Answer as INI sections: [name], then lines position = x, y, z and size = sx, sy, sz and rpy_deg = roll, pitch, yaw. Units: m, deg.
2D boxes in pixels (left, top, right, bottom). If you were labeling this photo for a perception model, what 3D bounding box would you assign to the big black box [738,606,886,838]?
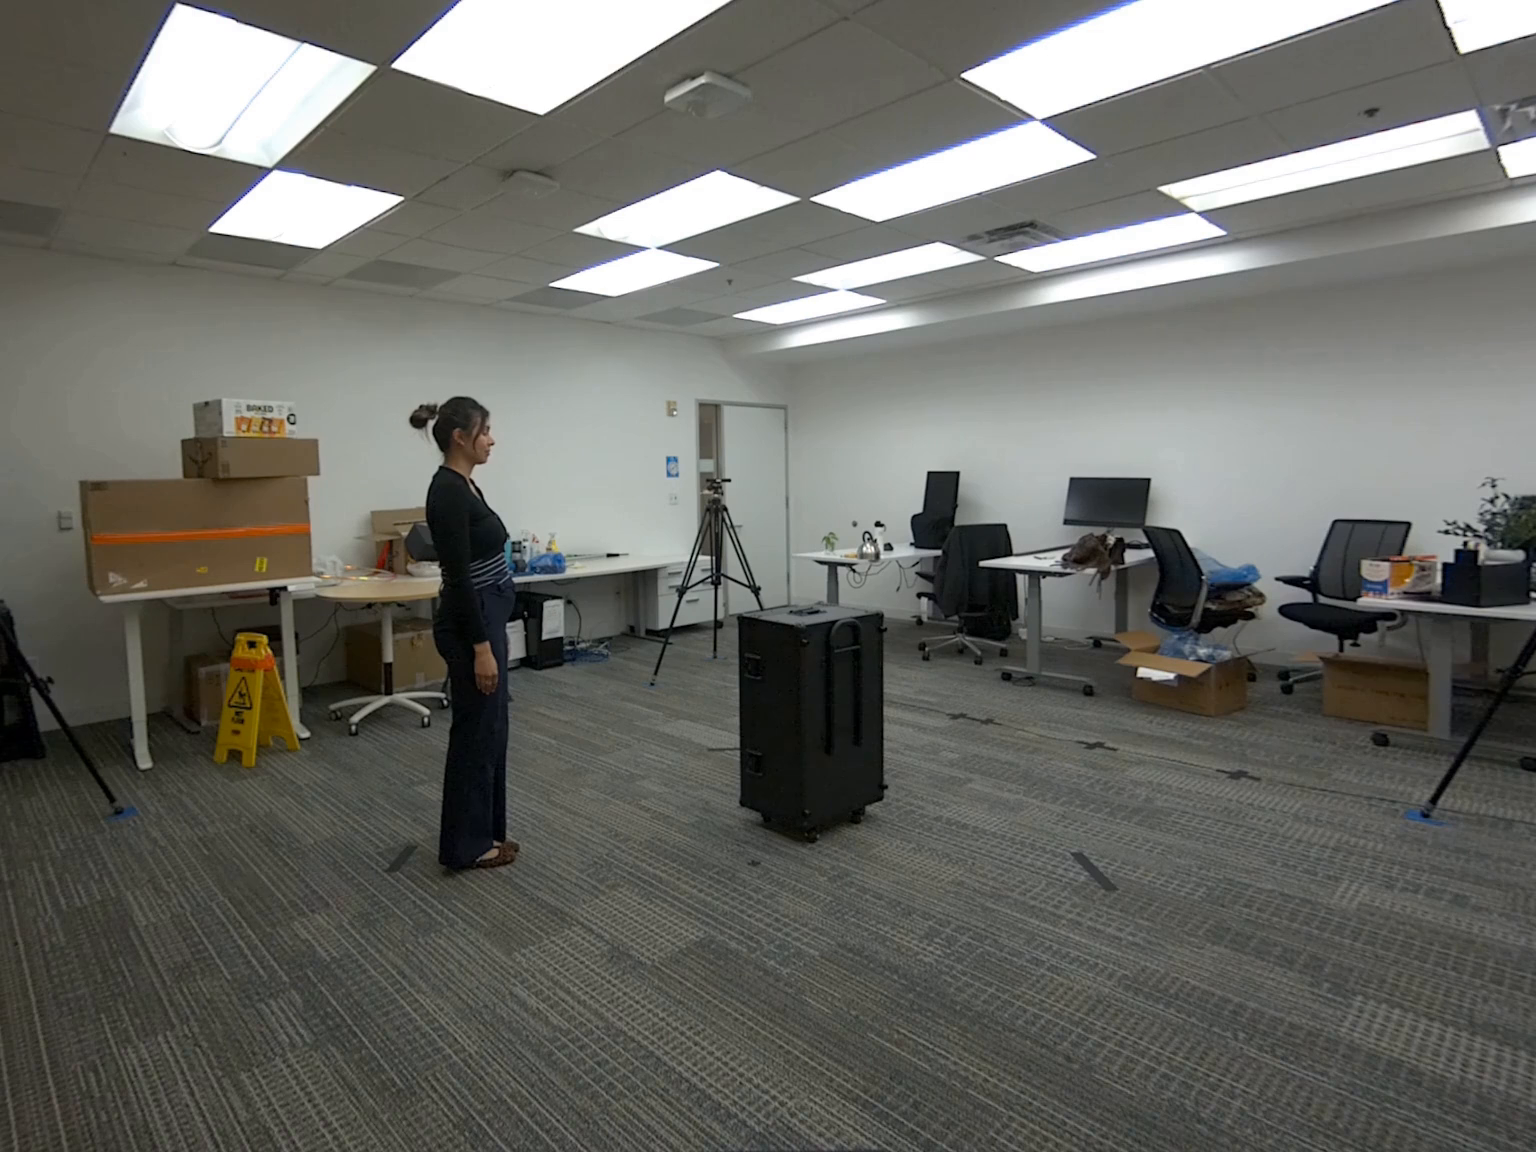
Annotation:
[big black box]
position = 0.190, 0.576, 3.467
size = 0.507, 0.858, 0.408
rpy_deg = -5, 6, -42
